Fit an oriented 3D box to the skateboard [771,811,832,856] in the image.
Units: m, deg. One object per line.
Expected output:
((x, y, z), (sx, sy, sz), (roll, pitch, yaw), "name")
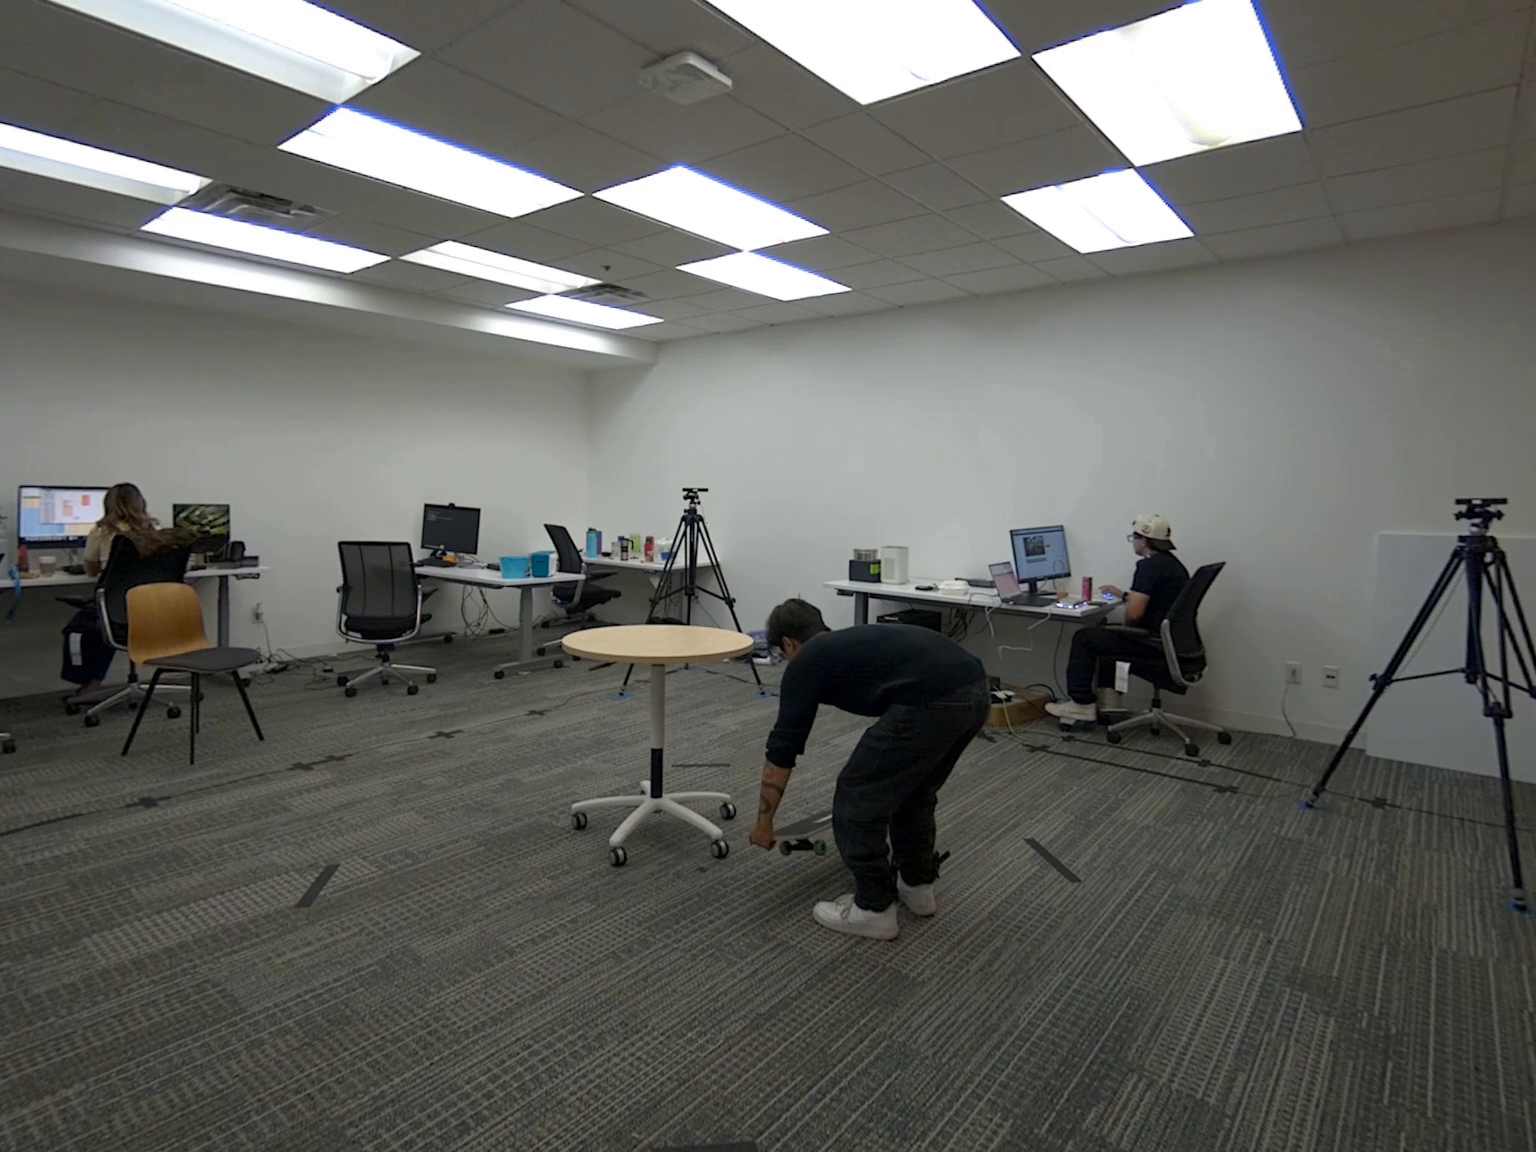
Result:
((0.234, 0.913, 3.125), (0.198, 0.111, 0.761), (-16, -8, 39), "skateboard")
